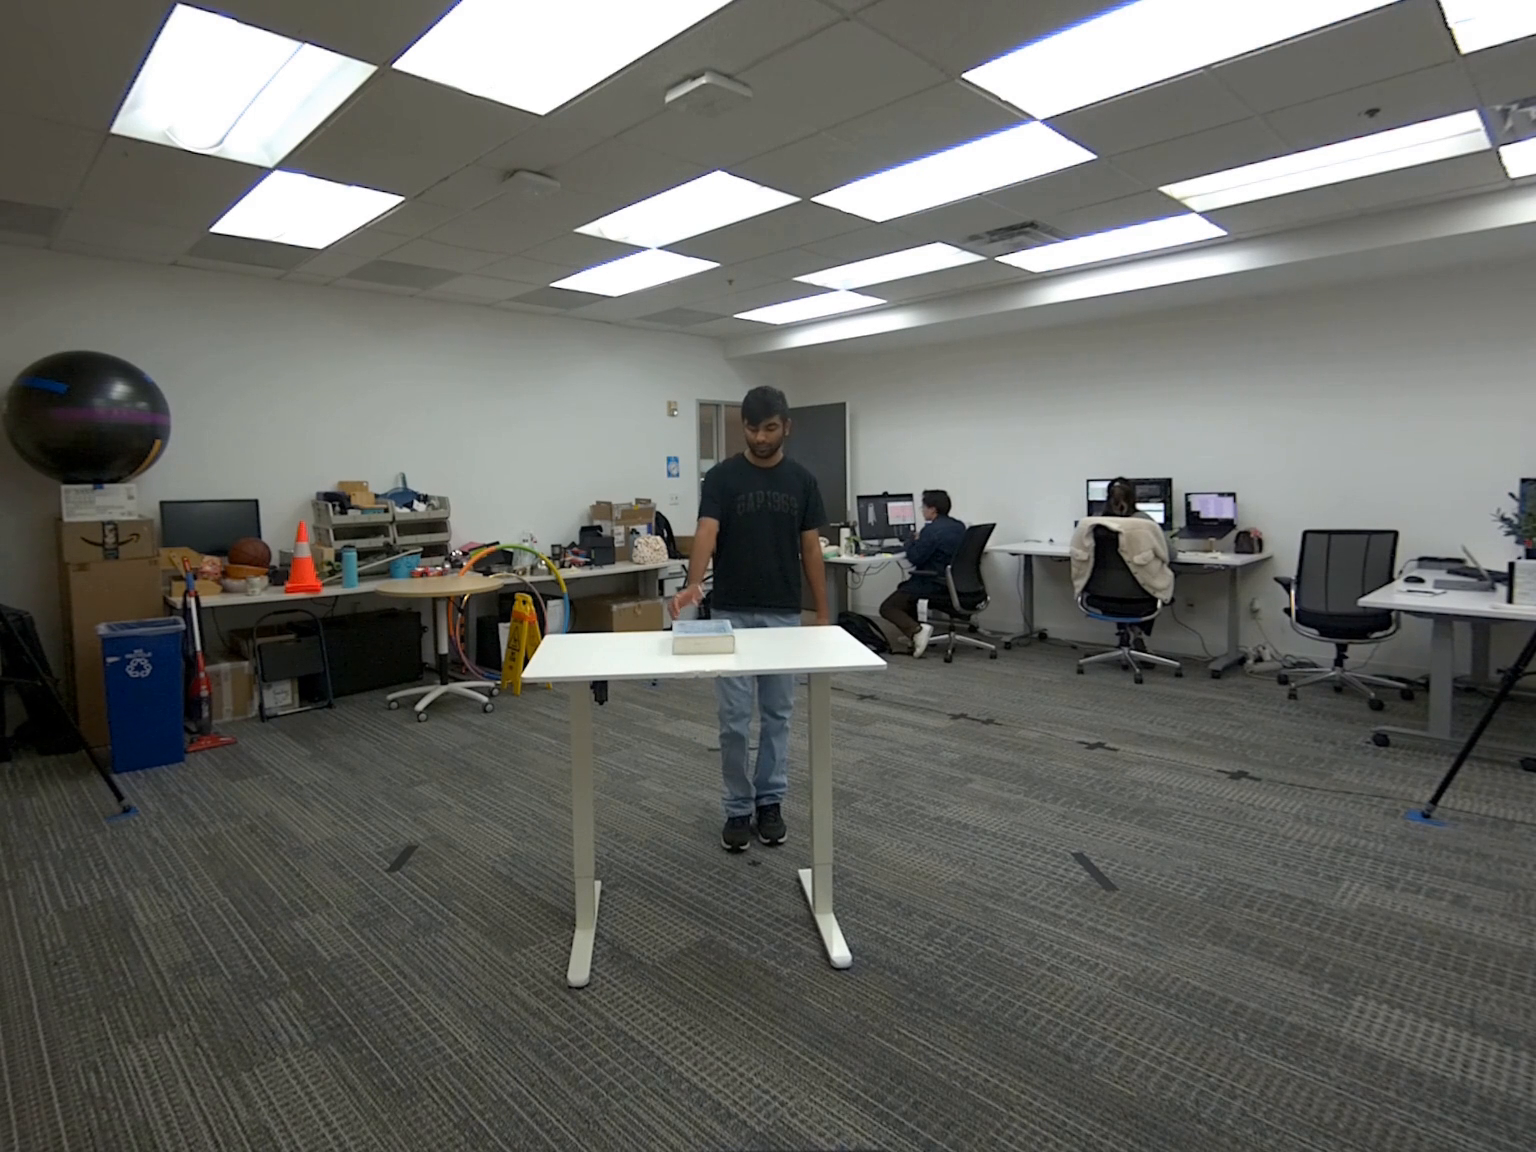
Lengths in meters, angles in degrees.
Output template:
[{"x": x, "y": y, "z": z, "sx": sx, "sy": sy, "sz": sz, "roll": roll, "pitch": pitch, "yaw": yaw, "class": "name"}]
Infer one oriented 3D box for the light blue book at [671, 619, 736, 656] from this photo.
[{"x": -0.212, "y": 0.194, "z": 2.664, "sx": 0.191, "sy": 0.059, "sz": 0.263, "roll": -2, "pitch": 7, "yaw": -2, "class": "light blue book"}]
